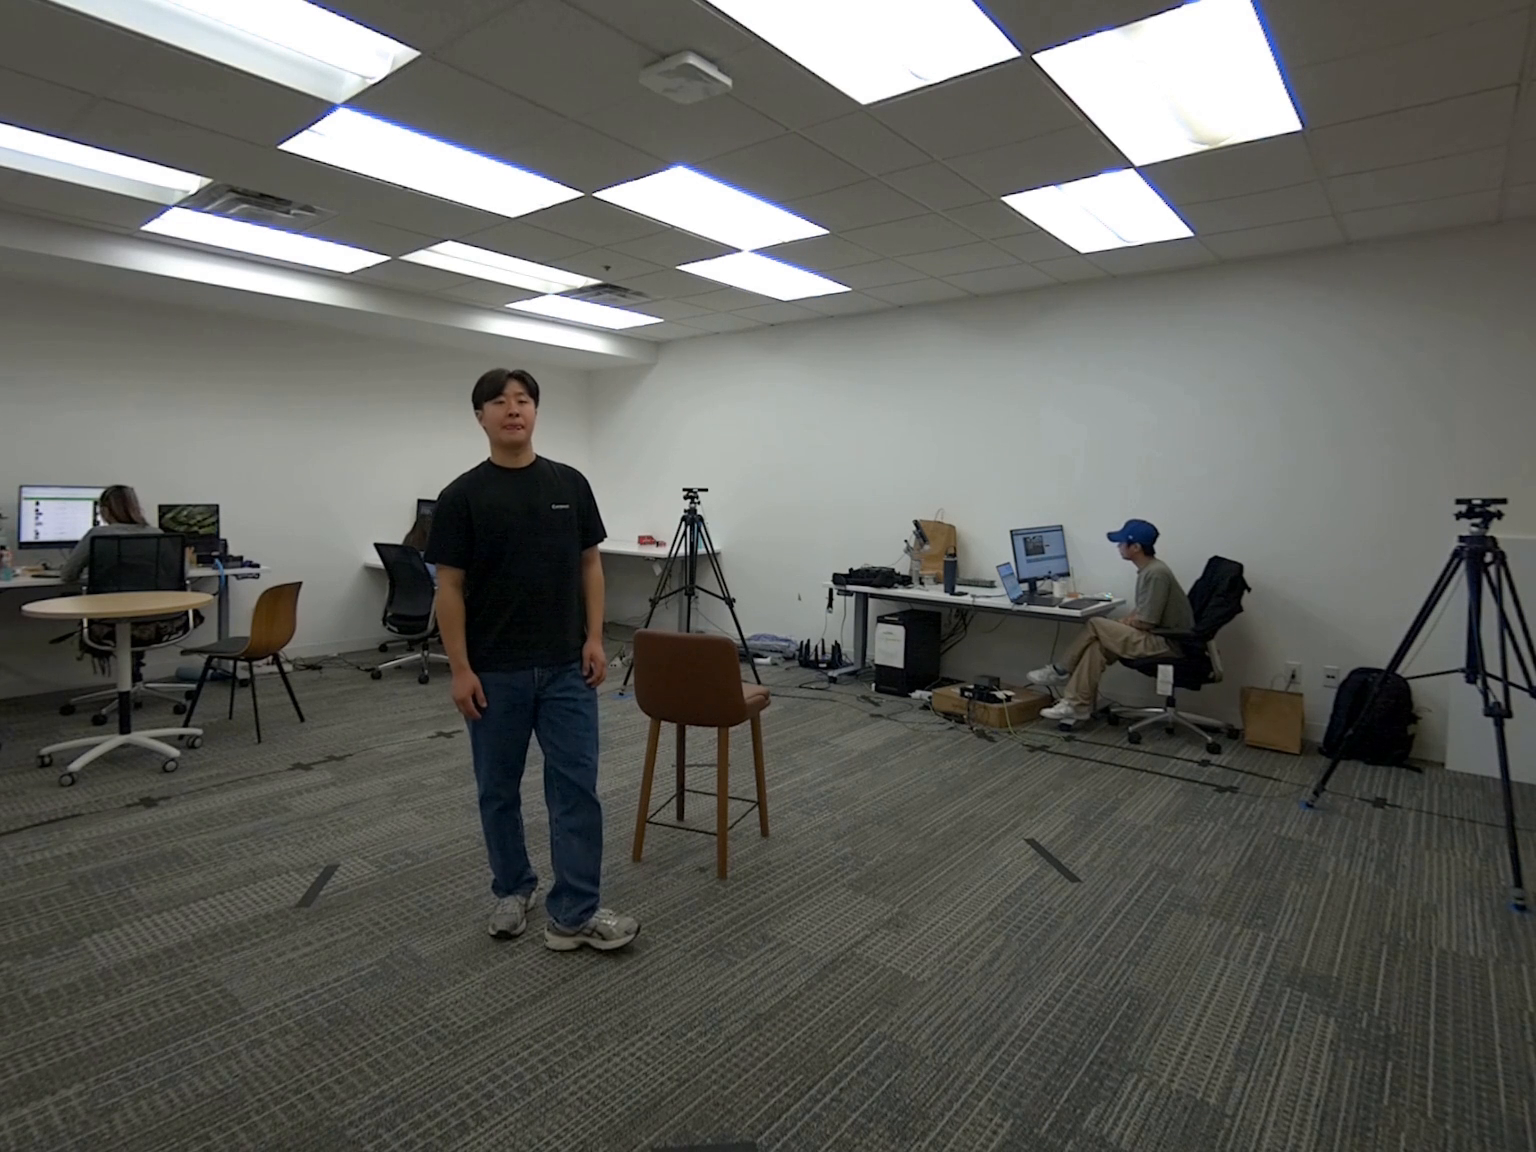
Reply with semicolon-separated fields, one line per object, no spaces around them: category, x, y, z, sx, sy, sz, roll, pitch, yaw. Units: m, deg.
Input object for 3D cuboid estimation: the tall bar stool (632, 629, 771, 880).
tall bar stool;-0.265;0.616;3.282;0.467;0.886;0.459;2;5;22
